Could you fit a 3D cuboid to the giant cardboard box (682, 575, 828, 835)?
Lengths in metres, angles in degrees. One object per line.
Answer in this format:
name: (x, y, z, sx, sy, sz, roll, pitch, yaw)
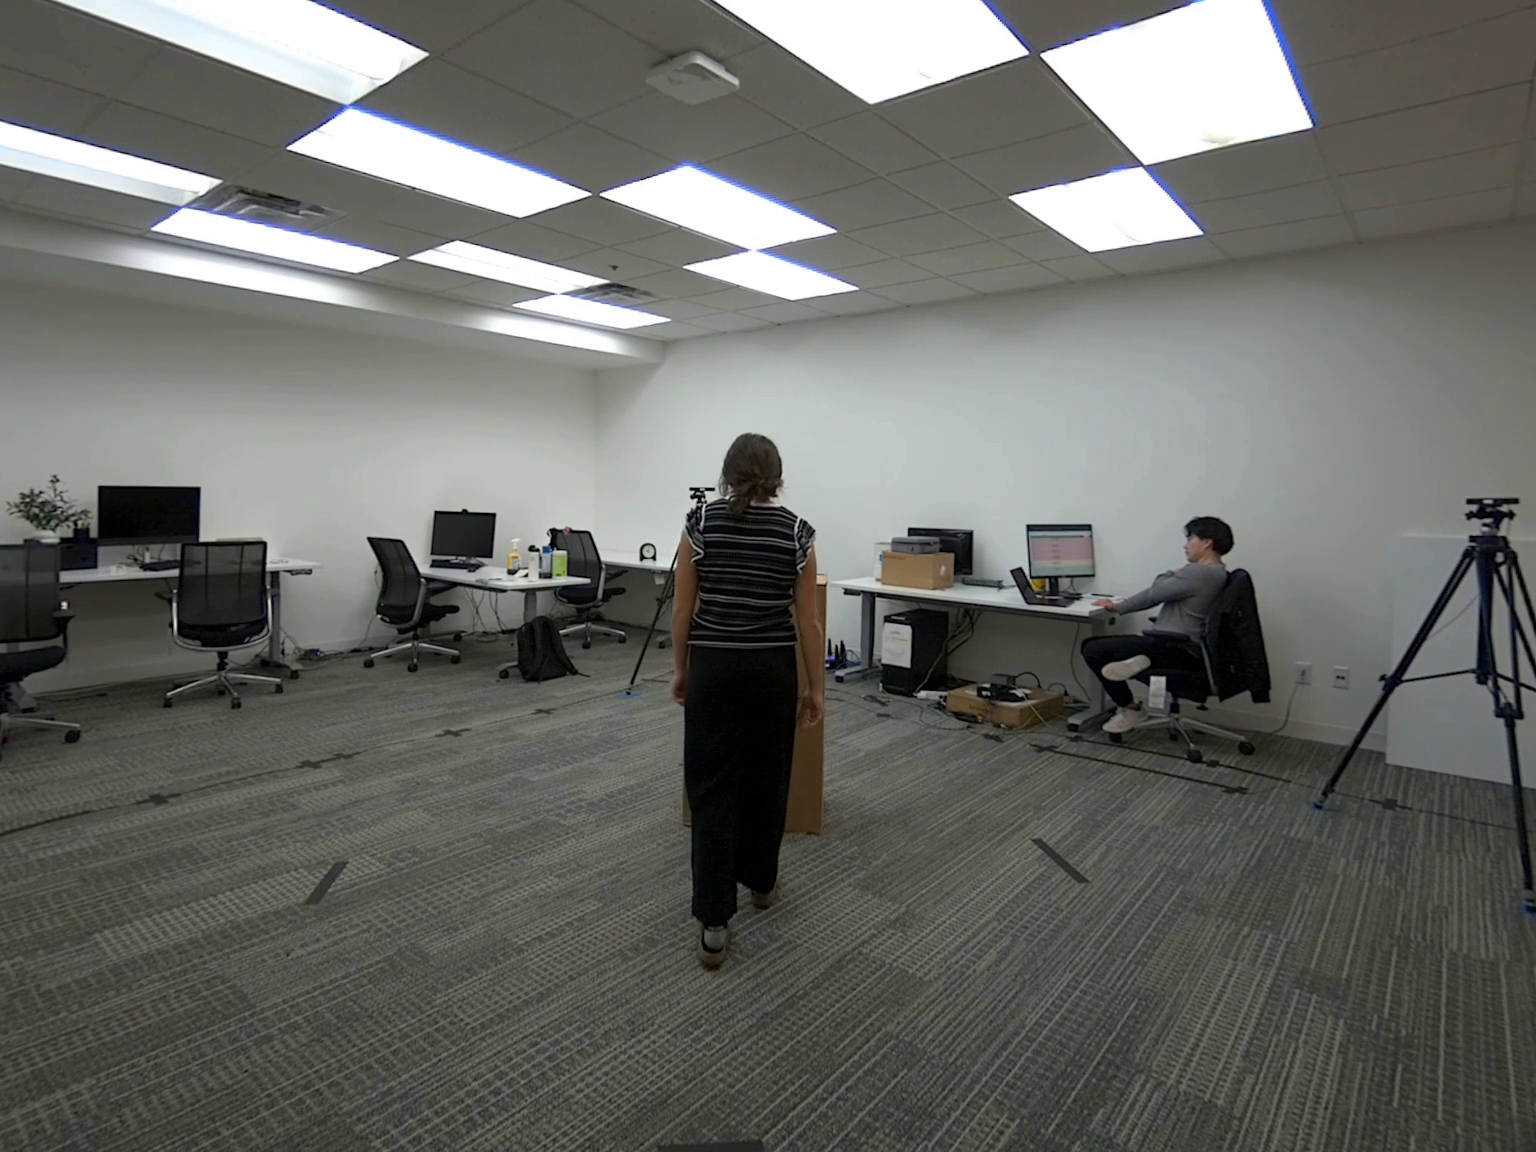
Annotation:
giant cardboard box: (-0.051, 0.503, 3.657, 0.582, 1.023, 0.424, 1, 3, 6)
